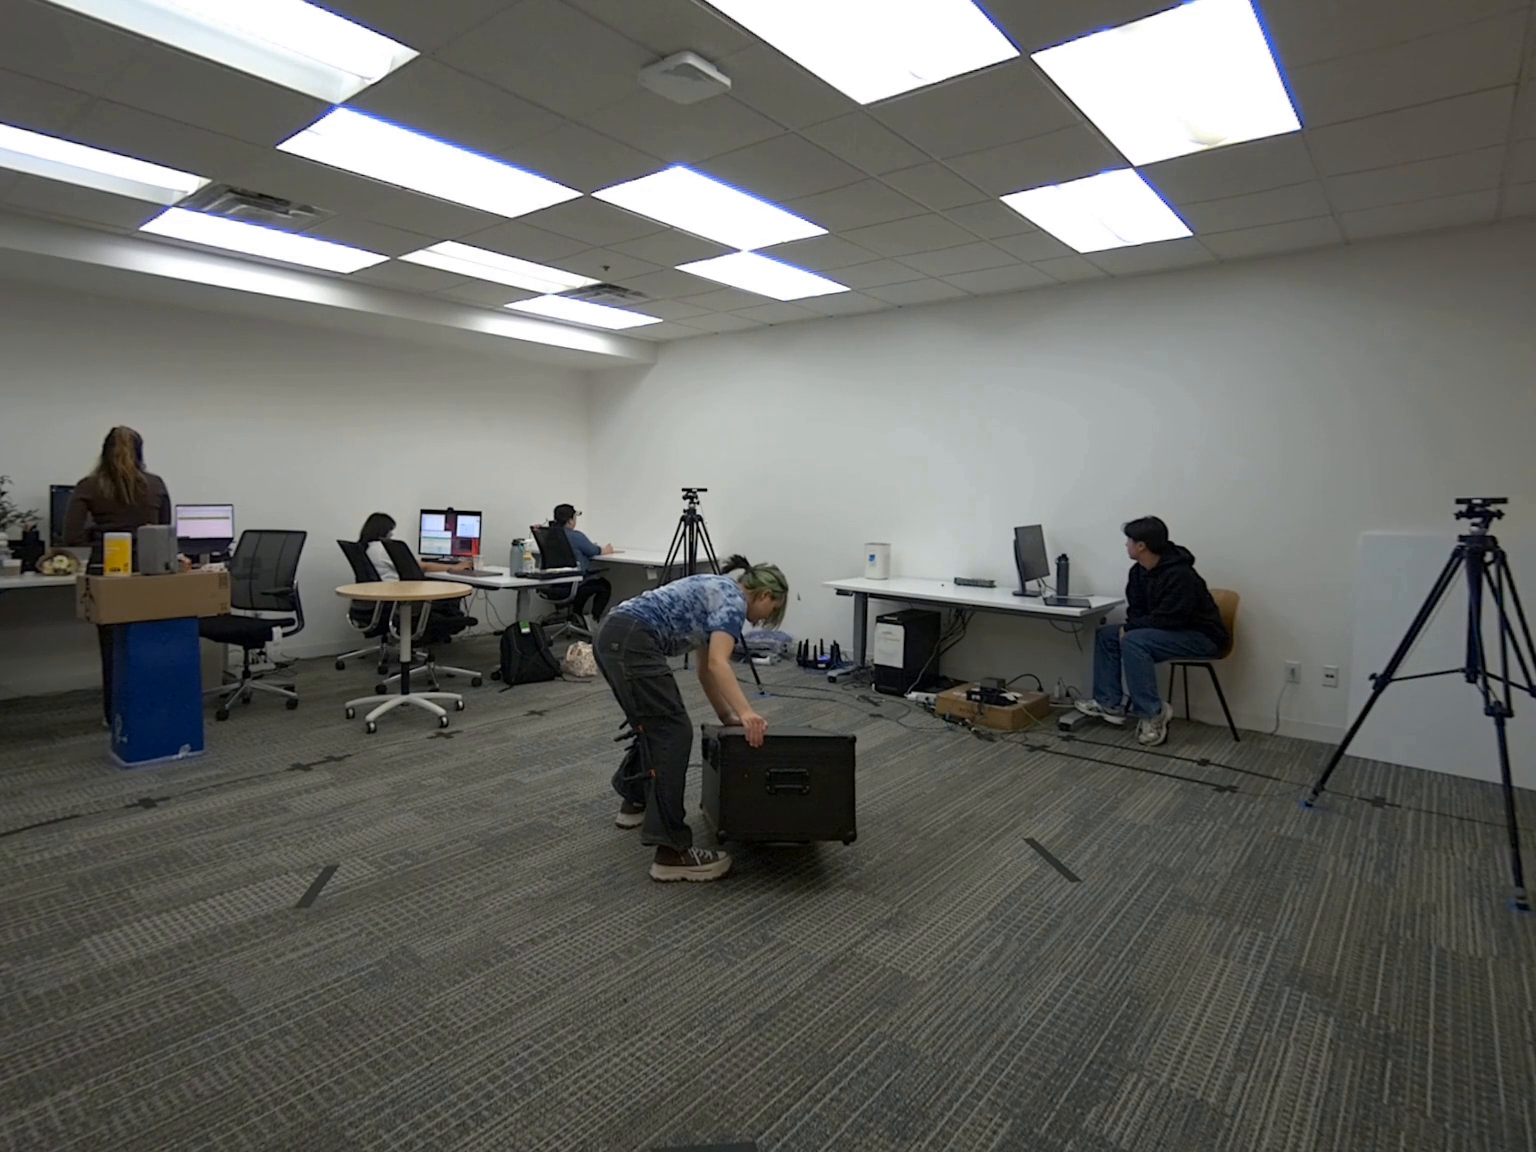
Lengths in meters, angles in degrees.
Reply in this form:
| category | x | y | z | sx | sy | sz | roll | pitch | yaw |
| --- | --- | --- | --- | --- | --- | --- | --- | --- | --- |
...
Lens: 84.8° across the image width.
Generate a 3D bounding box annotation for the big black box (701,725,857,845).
| category | x | y | z | sx | sy | sz | roll | pitch | yaw |
| --- | --- | --- | --- | --- | --- | --- | --- | --- | --- |
| big black box | 0.011 | 0.782 | 3.305 | 0.515 | 0.400 | 0.864 | 2 | -8 | -11 |
